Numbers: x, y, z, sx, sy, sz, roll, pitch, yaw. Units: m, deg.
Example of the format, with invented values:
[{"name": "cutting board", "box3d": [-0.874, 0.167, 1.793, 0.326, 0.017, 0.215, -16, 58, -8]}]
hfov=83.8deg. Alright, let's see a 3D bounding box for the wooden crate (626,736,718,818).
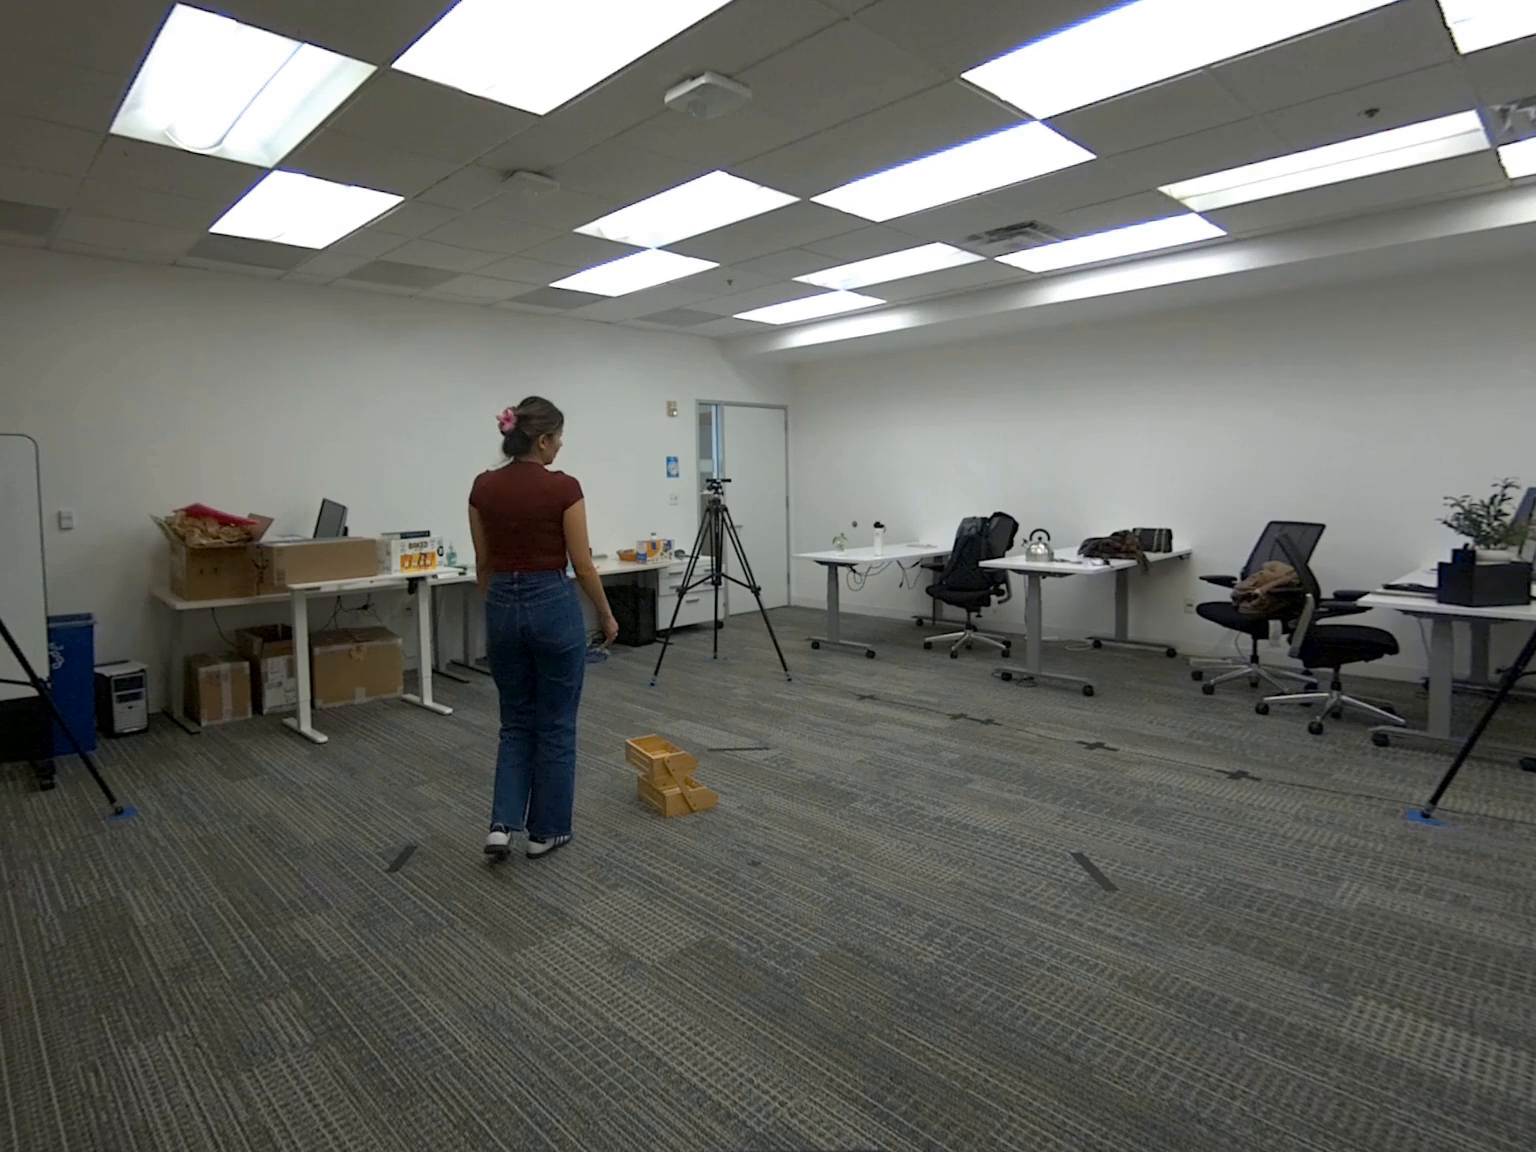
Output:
[{"name": "wooden crate", "box3d": [-0.419, 0.847, 3.717, 0.295, 0.272, 0.333, -5, 6, -31]}]
